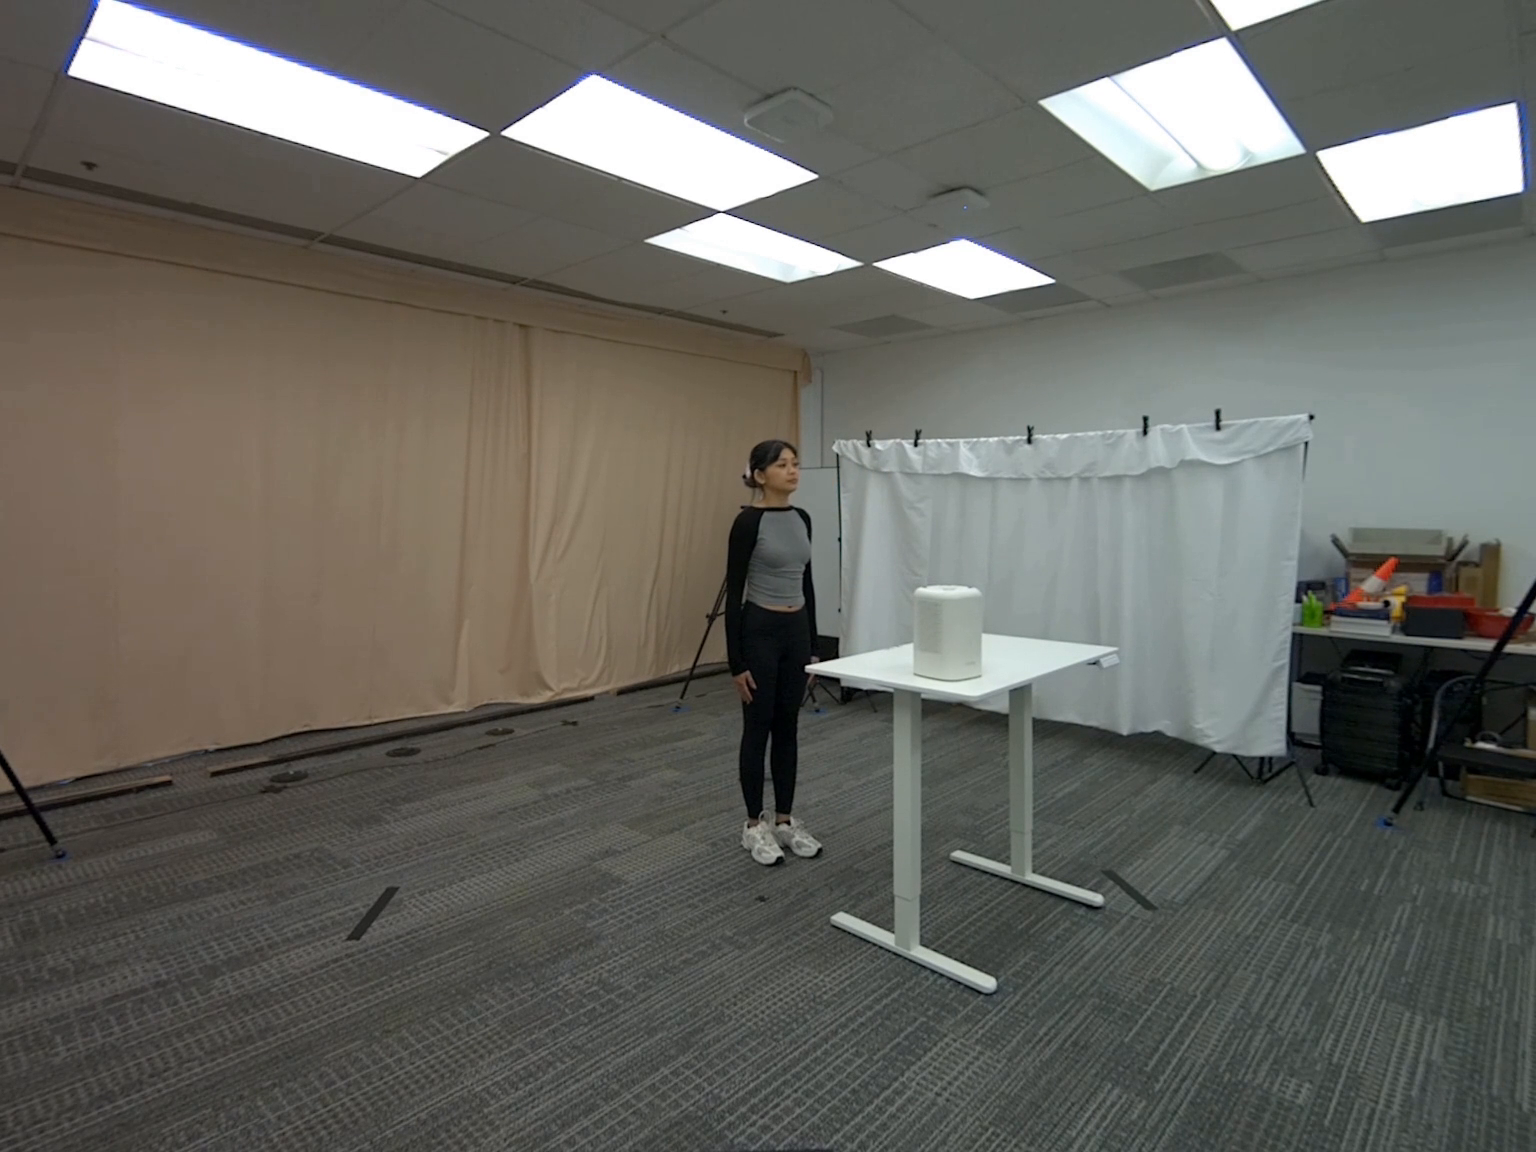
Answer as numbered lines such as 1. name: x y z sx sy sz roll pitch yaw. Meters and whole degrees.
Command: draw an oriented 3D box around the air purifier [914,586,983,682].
1. air purifier: 0.544 0.167 2.523 0.166 0.265 0.177 -5 4 -35
